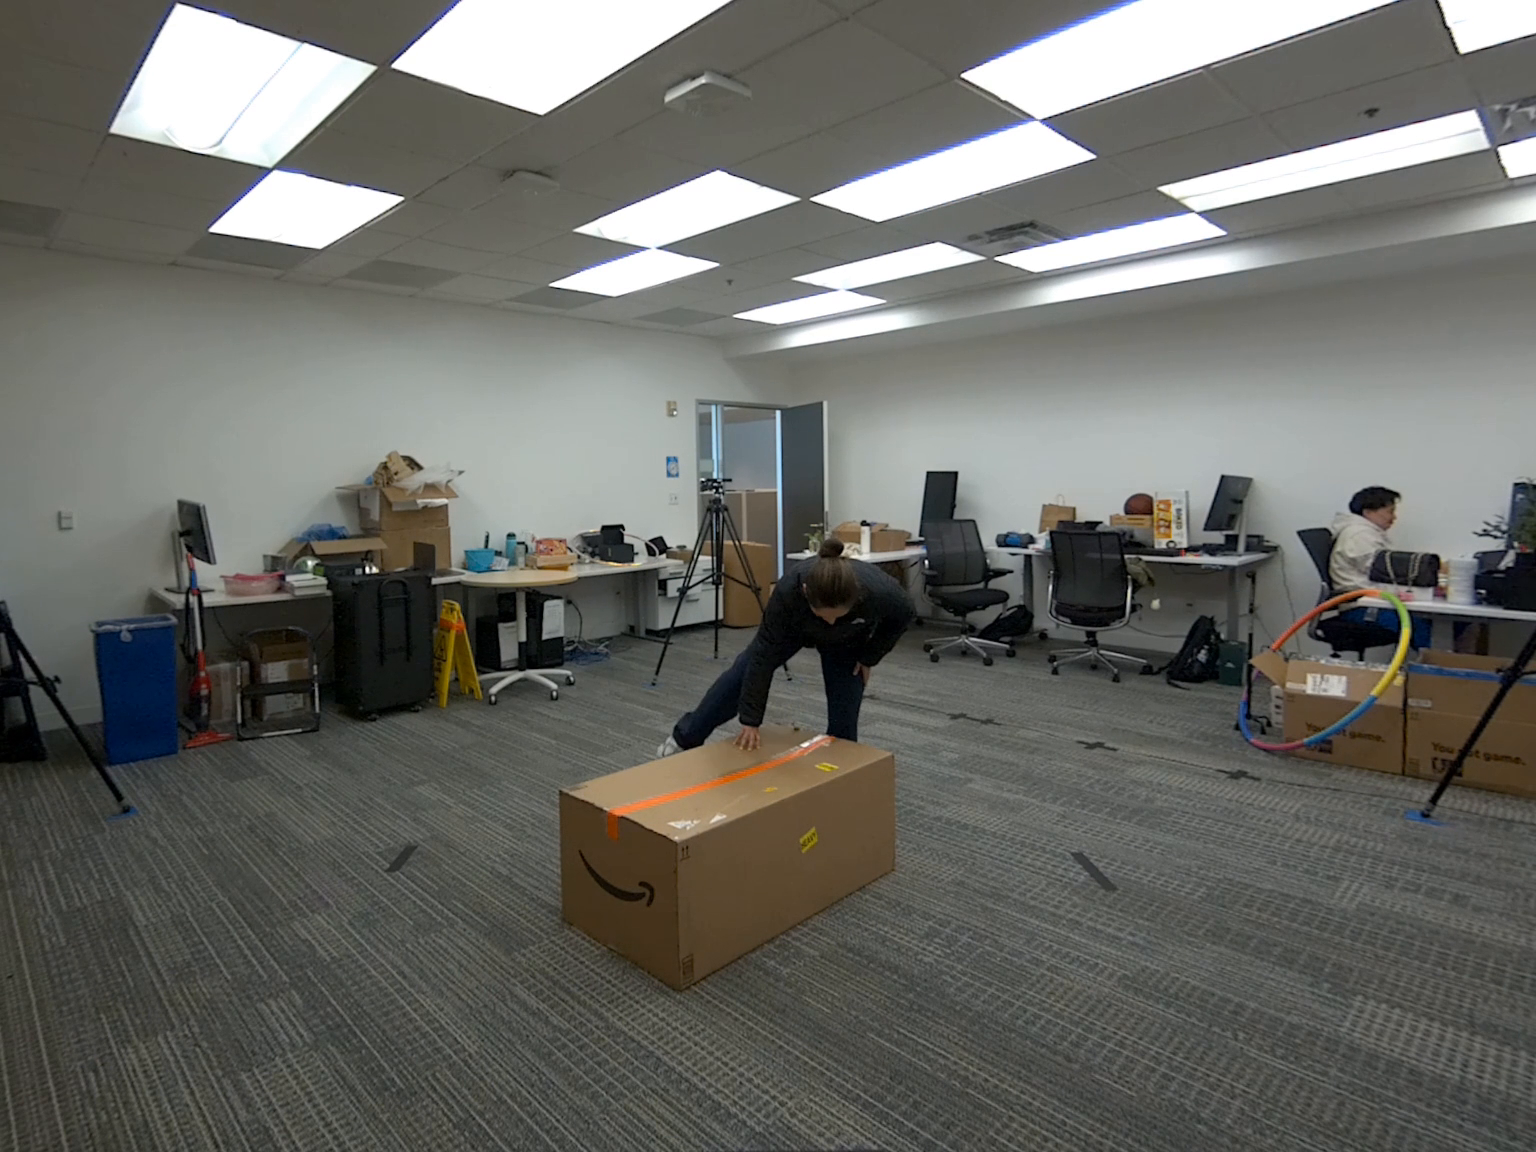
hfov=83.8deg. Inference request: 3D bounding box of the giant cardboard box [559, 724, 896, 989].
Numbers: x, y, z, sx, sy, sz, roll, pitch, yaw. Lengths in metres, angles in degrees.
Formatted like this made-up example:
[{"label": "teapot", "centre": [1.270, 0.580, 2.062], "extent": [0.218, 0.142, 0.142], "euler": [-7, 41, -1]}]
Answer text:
[{"label": "giant cardboard box", "centre": [-0.106, 0.864, 2.885], "extent": [0.601, 0.445, 1.001], "euler": [2, 7, 44]}]
